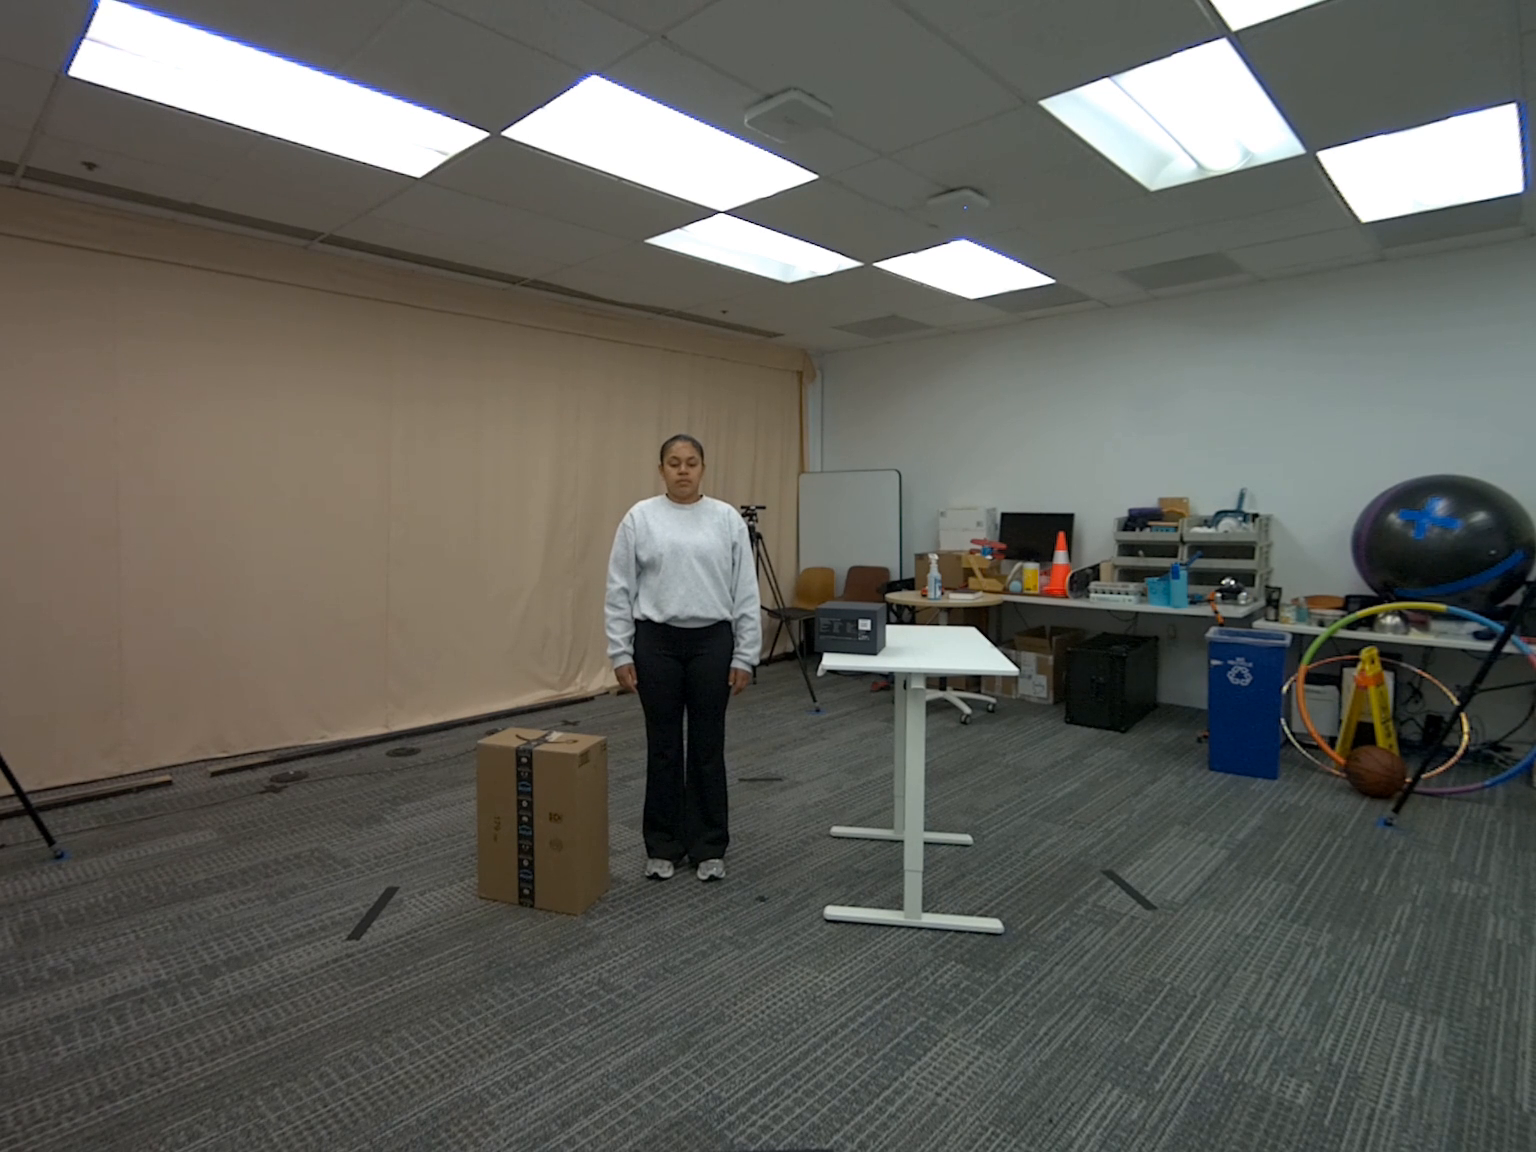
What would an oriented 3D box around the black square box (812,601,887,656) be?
[{"bbox_3d":[0.305,0.180,2.966,0.221,0.155,0.224,1,4,17],"label":"black square box"}]
